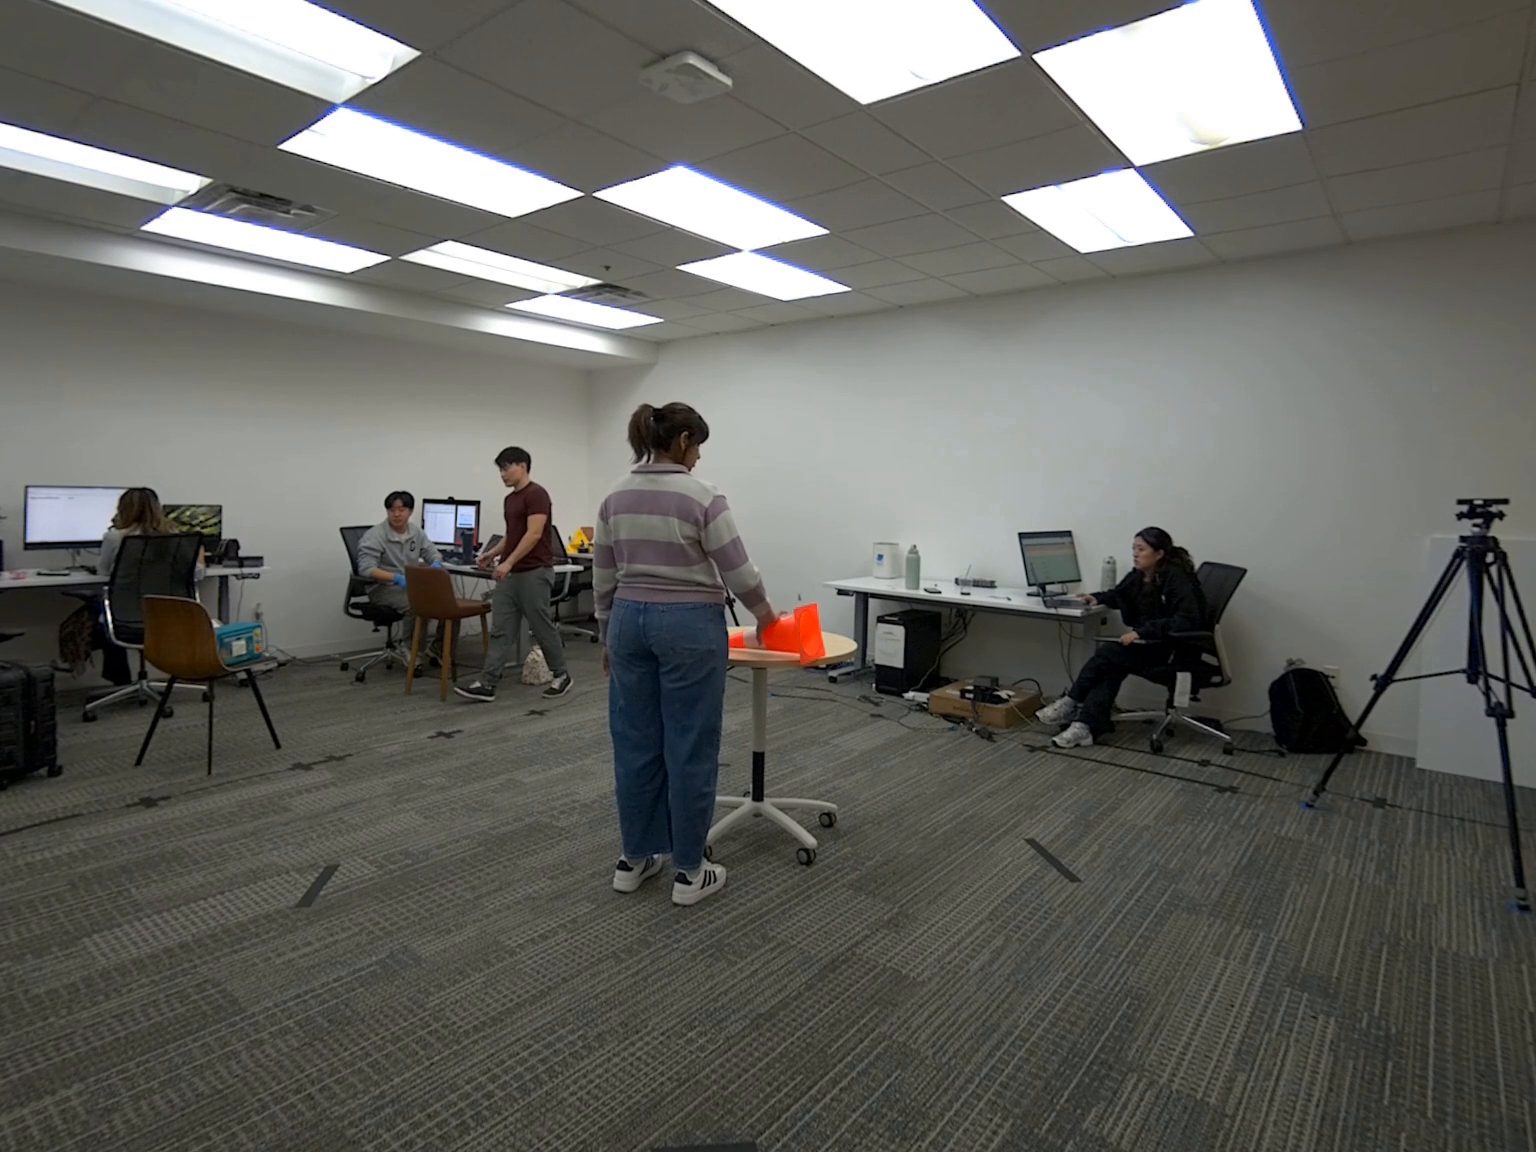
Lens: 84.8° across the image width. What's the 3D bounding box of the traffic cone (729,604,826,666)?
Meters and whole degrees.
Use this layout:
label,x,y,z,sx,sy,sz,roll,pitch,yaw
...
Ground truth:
label,x,y,z,sx,sy,sz,roll,pitch,yaw
traffic cone,-0.030,0.225,3.147,0.393,0.204,0.200,-7,0,30
